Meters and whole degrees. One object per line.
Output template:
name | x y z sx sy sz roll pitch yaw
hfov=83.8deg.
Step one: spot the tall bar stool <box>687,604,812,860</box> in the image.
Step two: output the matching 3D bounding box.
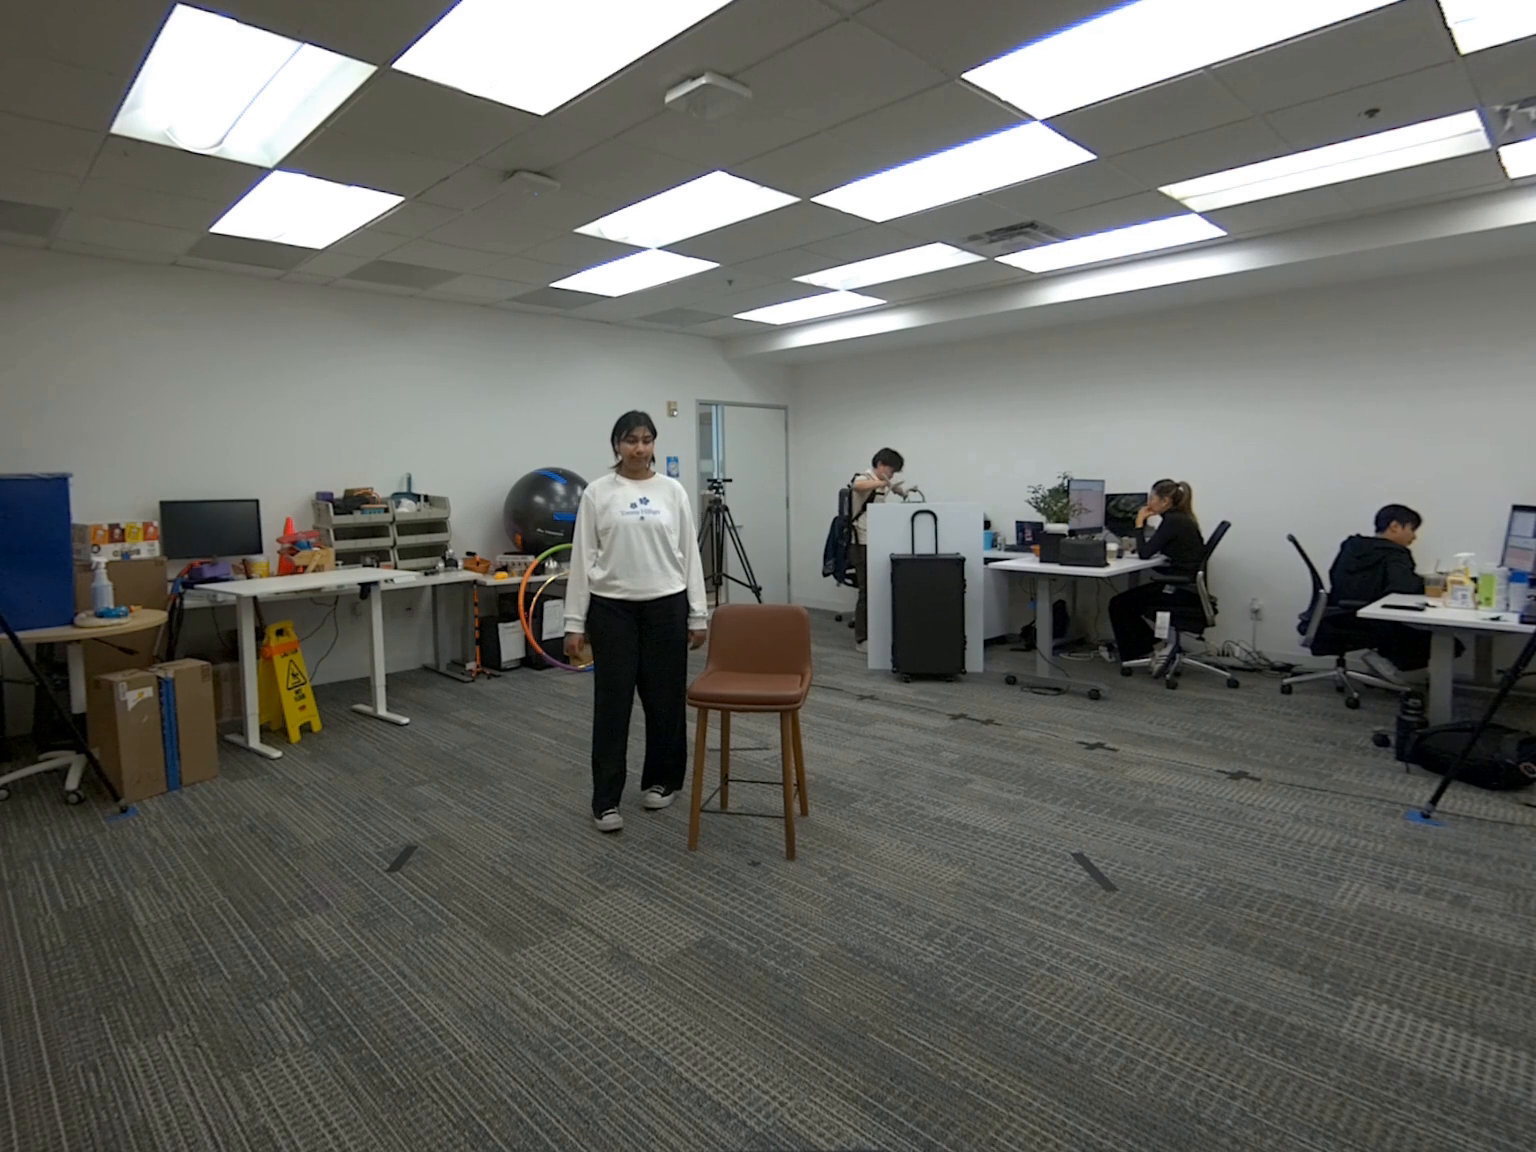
tall bar stool | -0.066 0.581 3.371 0.463 0.888 0.462 0 2 14
